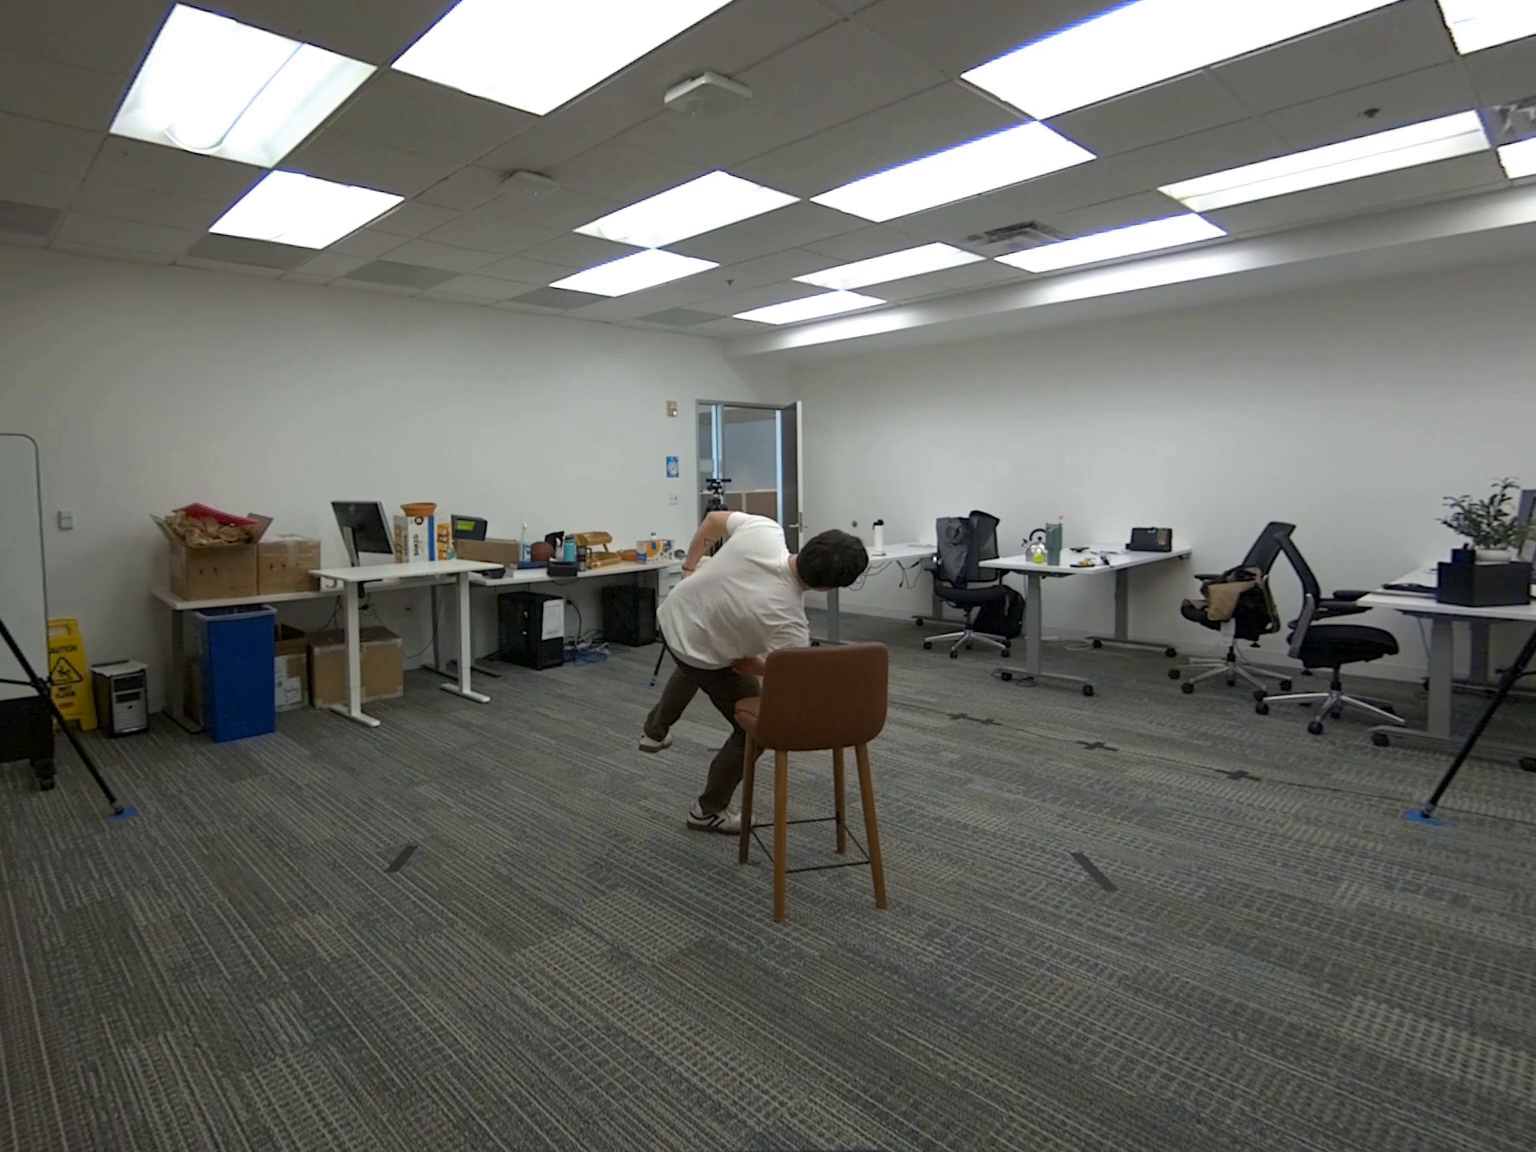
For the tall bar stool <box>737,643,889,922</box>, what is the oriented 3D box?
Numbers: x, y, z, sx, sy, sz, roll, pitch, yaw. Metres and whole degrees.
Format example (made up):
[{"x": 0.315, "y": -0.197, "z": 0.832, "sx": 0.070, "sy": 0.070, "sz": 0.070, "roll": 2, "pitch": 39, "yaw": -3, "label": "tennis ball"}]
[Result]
[{"x": 0.146, "y": 0.629, "z": 2.911, "sx": 0.451, "sy": 0.886, "sz": 0.476, "roll": -2, "pitch": 5, "yaw": -14, "label": "tall bar stool"}]
